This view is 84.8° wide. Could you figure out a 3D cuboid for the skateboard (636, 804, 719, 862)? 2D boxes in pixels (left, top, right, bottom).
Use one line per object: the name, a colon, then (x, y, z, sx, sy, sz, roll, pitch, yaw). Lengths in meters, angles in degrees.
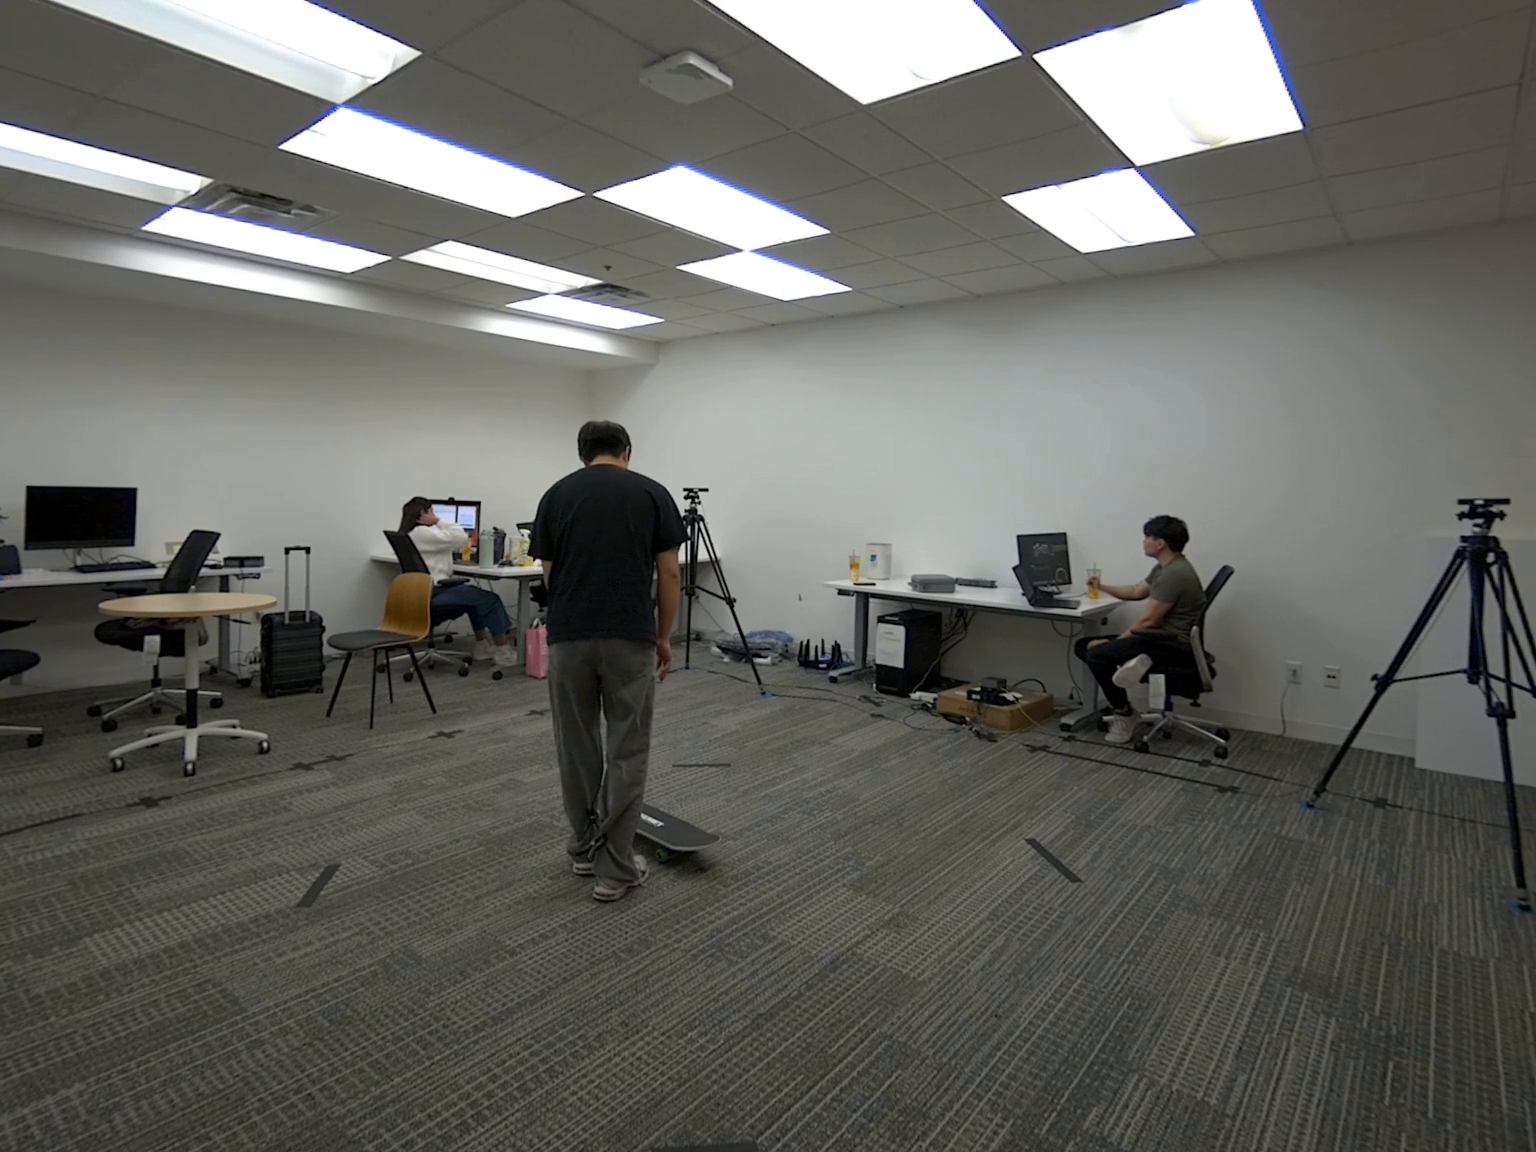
skateboard: (-0.498, 0.984, 3.358, 0.813, 0.110, 0.188, 6, 8, 44)
